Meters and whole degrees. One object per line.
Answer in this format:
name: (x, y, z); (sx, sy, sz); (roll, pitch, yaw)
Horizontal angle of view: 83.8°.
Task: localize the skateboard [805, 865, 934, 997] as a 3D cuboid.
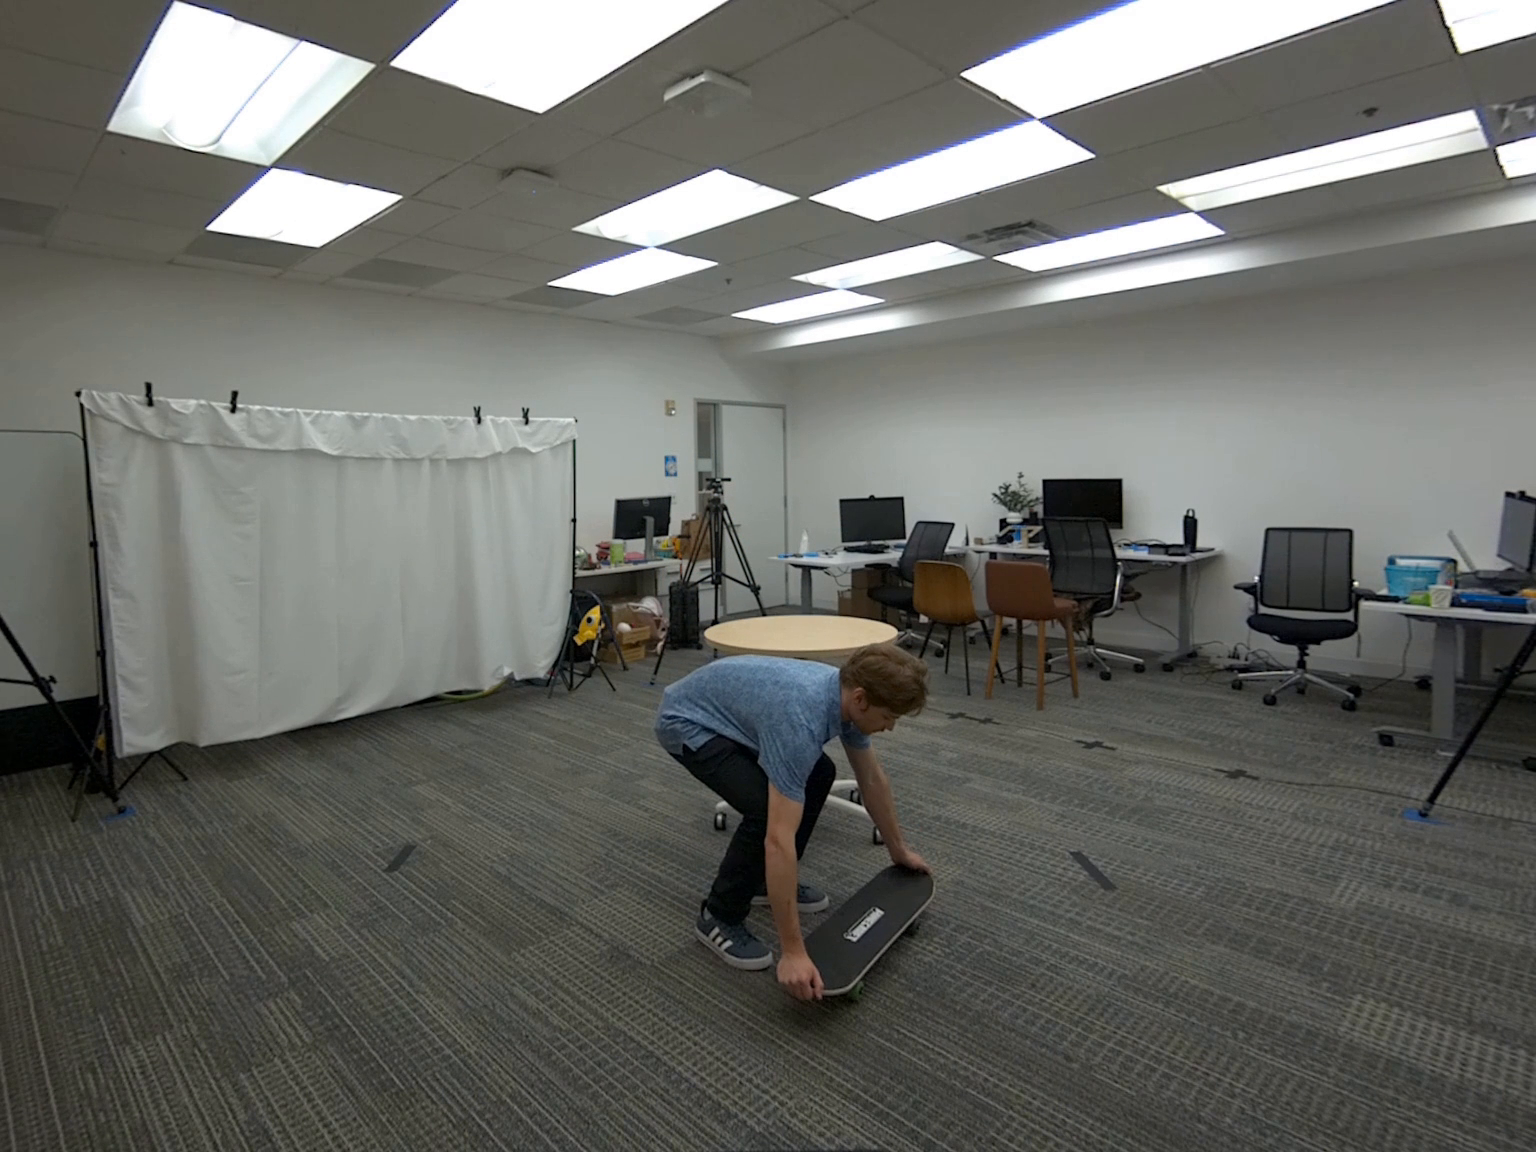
skateboard: (0.288, 1.049, 2.481); (0.199, 0.109, 0.768); (9, 11, 30)
